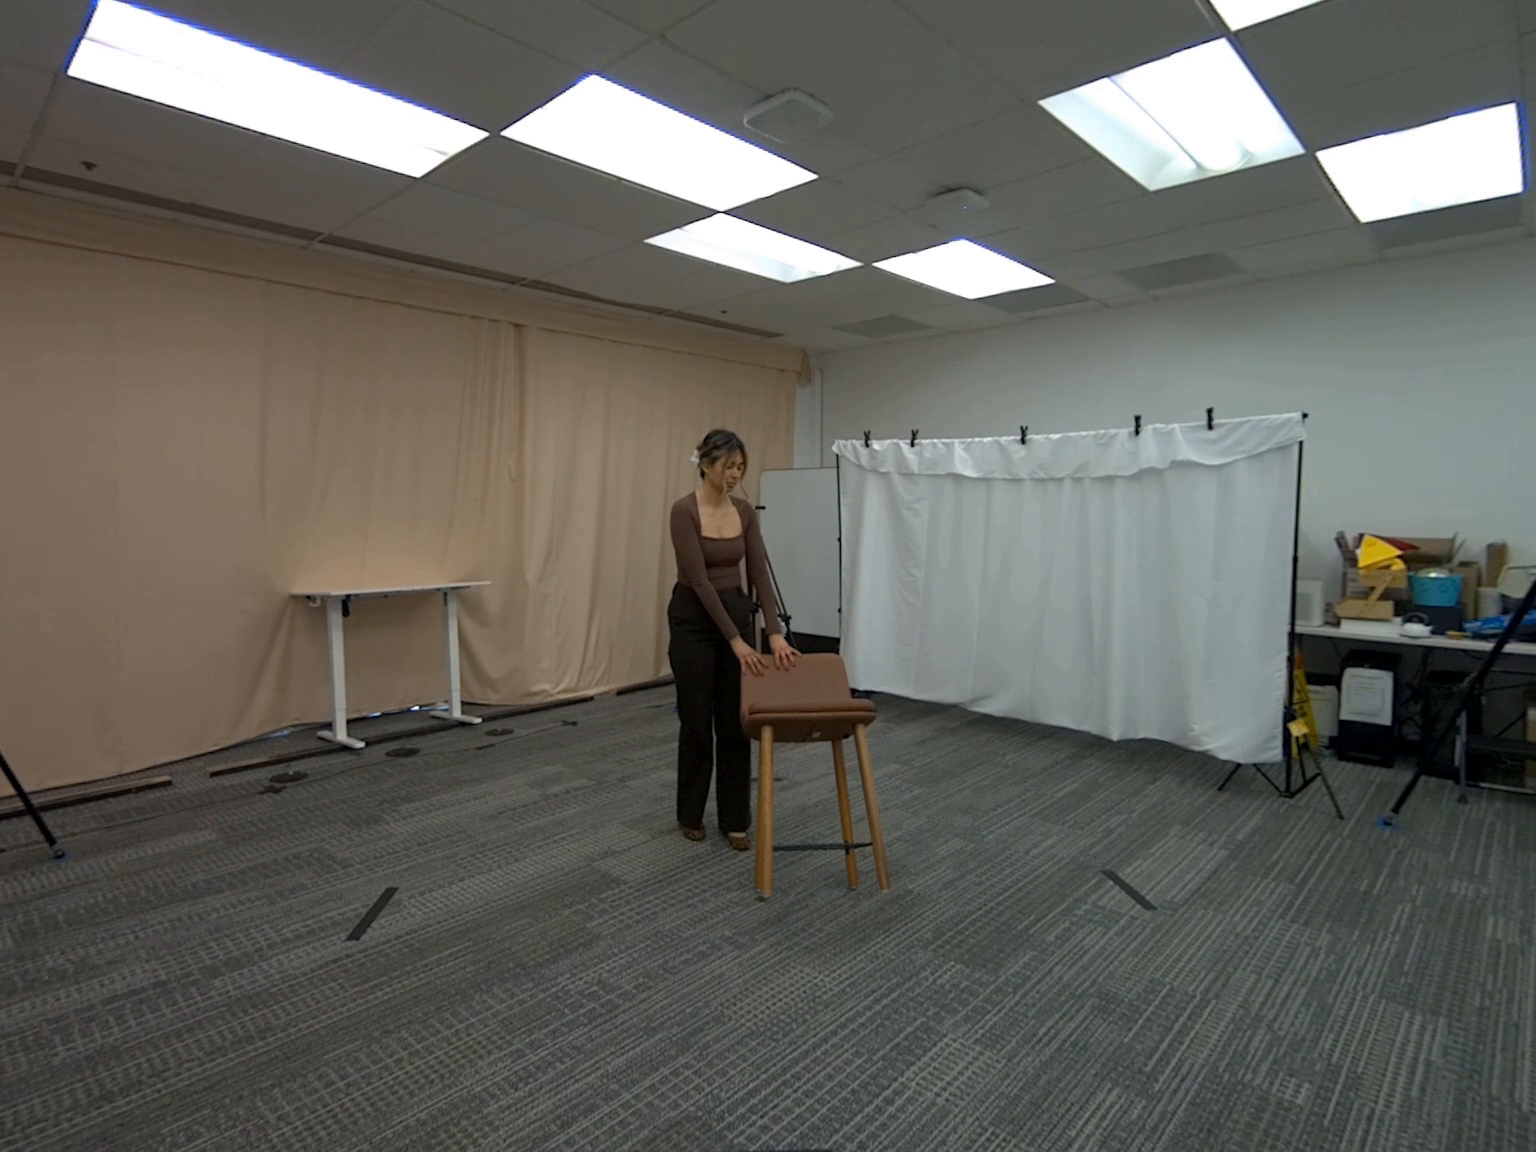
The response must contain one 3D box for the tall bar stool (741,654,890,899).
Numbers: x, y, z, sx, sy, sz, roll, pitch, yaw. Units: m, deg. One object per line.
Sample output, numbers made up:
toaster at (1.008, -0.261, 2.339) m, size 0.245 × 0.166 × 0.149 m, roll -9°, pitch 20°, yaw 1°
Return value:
tall bar stool at (0.147, 0.656, 3.017) m, size 0.455 × 0.902 × 0.463 m, roll -1°, pitch -22°, yaw -4°
